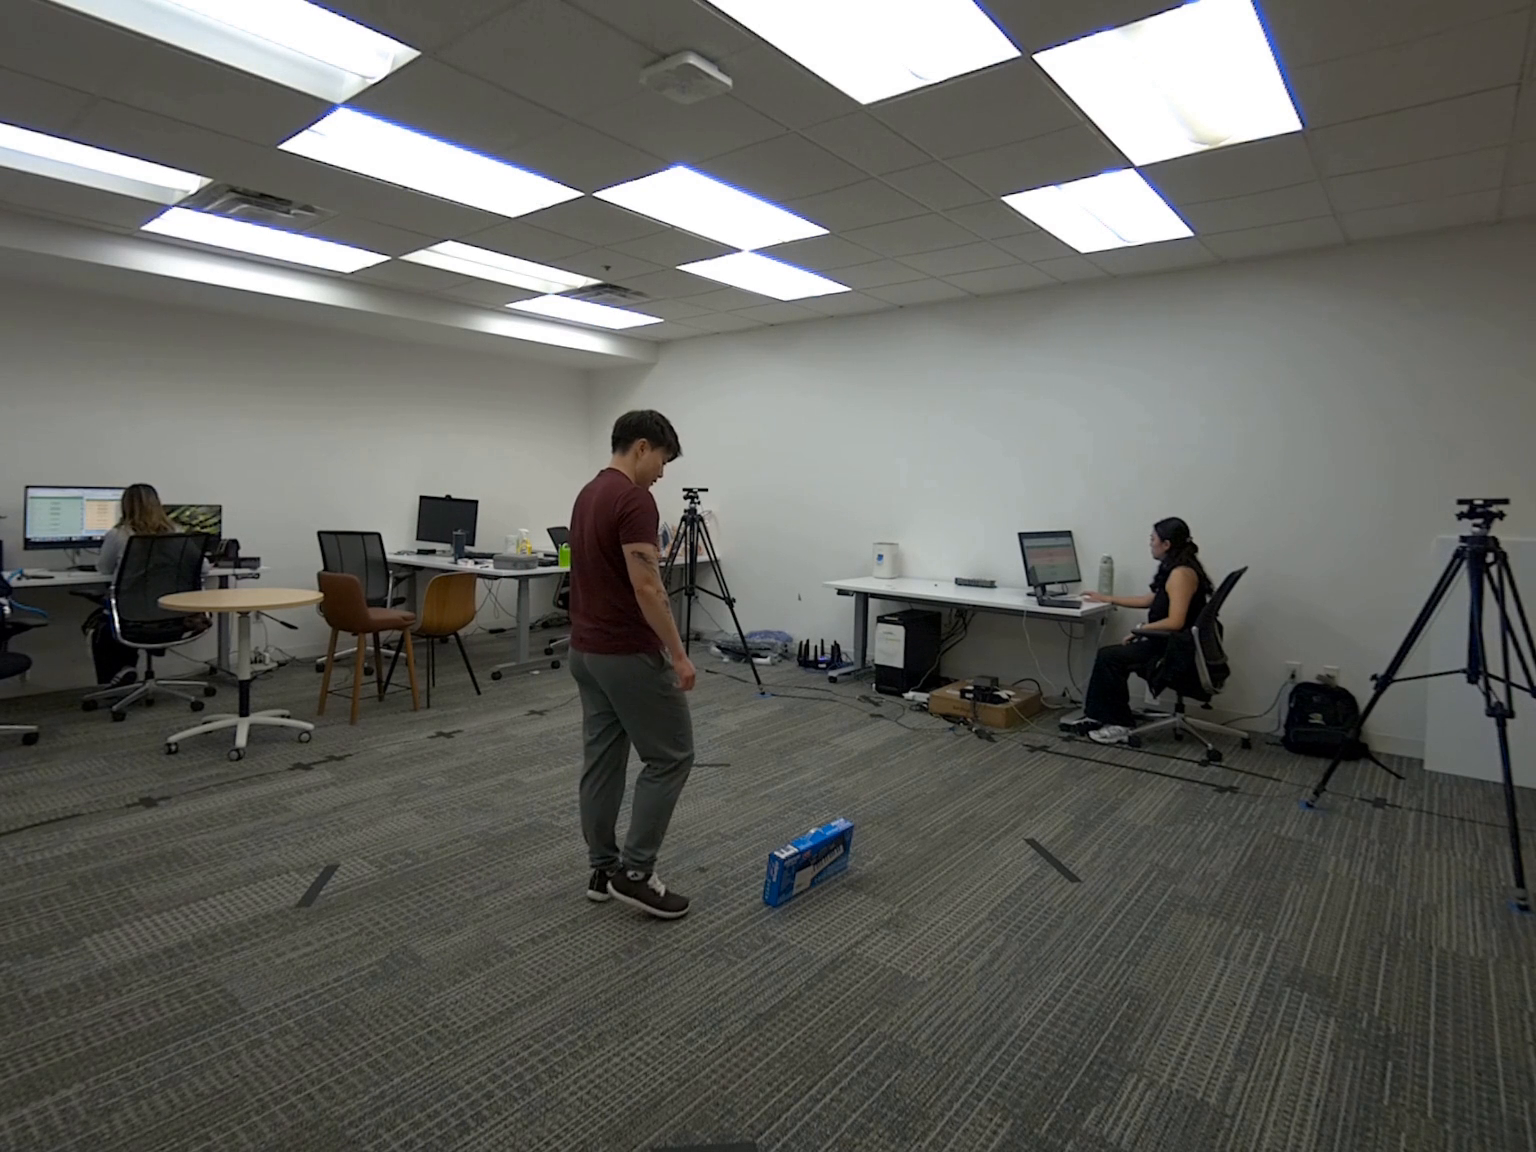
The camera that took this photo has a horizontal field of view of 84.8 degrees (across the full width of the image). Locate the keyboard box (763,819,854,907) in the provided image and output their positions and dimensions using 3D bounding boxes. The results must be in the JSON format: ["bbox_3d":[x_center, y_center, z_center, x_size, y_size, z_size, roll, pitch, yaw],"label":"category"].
[{"bbox_3d":[0.142,1.004,2.998,0.061,0.174,0.424,15,13,38],"label":"keyboard box"}]
